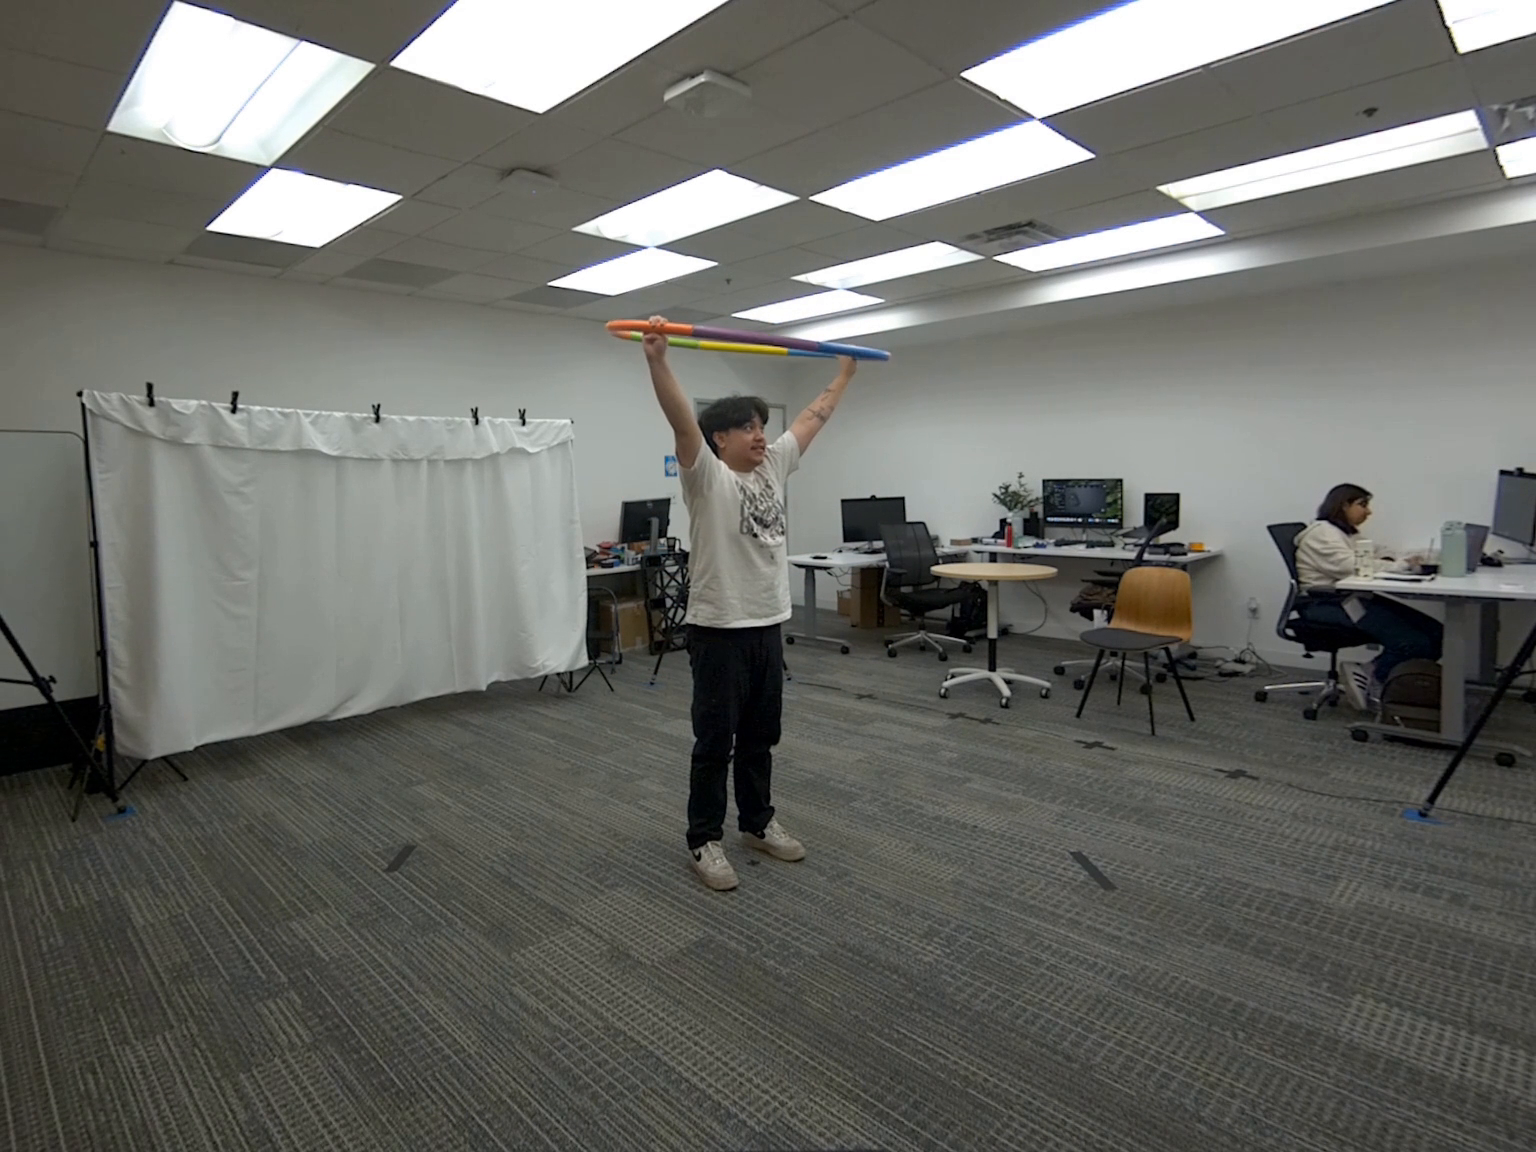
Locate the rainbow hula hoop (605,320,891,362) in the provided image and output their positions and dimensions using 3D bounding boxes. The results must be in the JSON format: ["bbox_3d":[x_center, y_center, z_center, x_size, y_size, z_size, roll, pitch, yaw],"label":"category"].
[{"bbox_3d":[-0.074,-0.811,2.963,0.983,0.051,0.997,5,13,-3],"label":"rainbow hula hoop"}]
